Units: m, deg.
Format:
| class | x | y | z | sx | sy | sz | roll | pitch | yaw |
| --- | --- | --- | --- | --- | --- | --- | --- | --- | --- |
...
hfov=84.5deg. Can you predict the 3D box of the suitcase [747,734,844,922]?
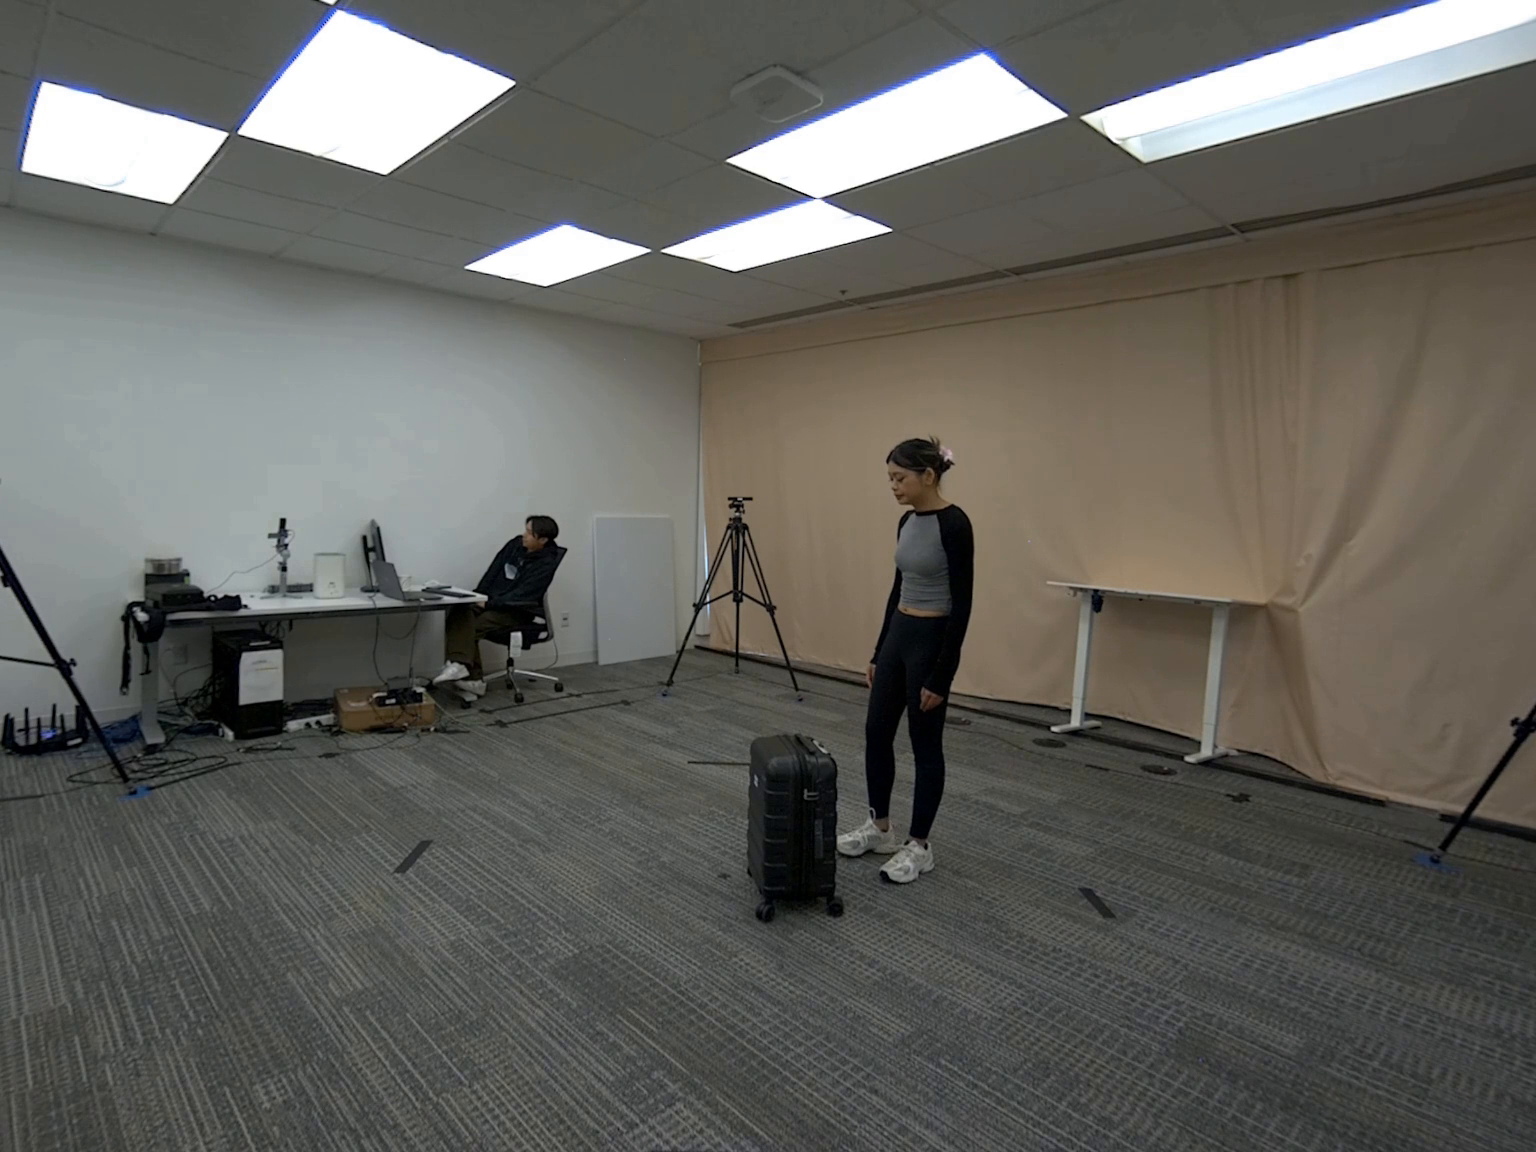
| class | x | y | z | sx | sy | sz | roll | pitch | yaw |
| --- | --- | --- | --- | --- | --- | --- | --- | --- | --- |
| suitcase | 0.073 | 0.848 | 2.942 | 0.246 | 0.548 | 0.379 | 1 | 4 | -11 |
